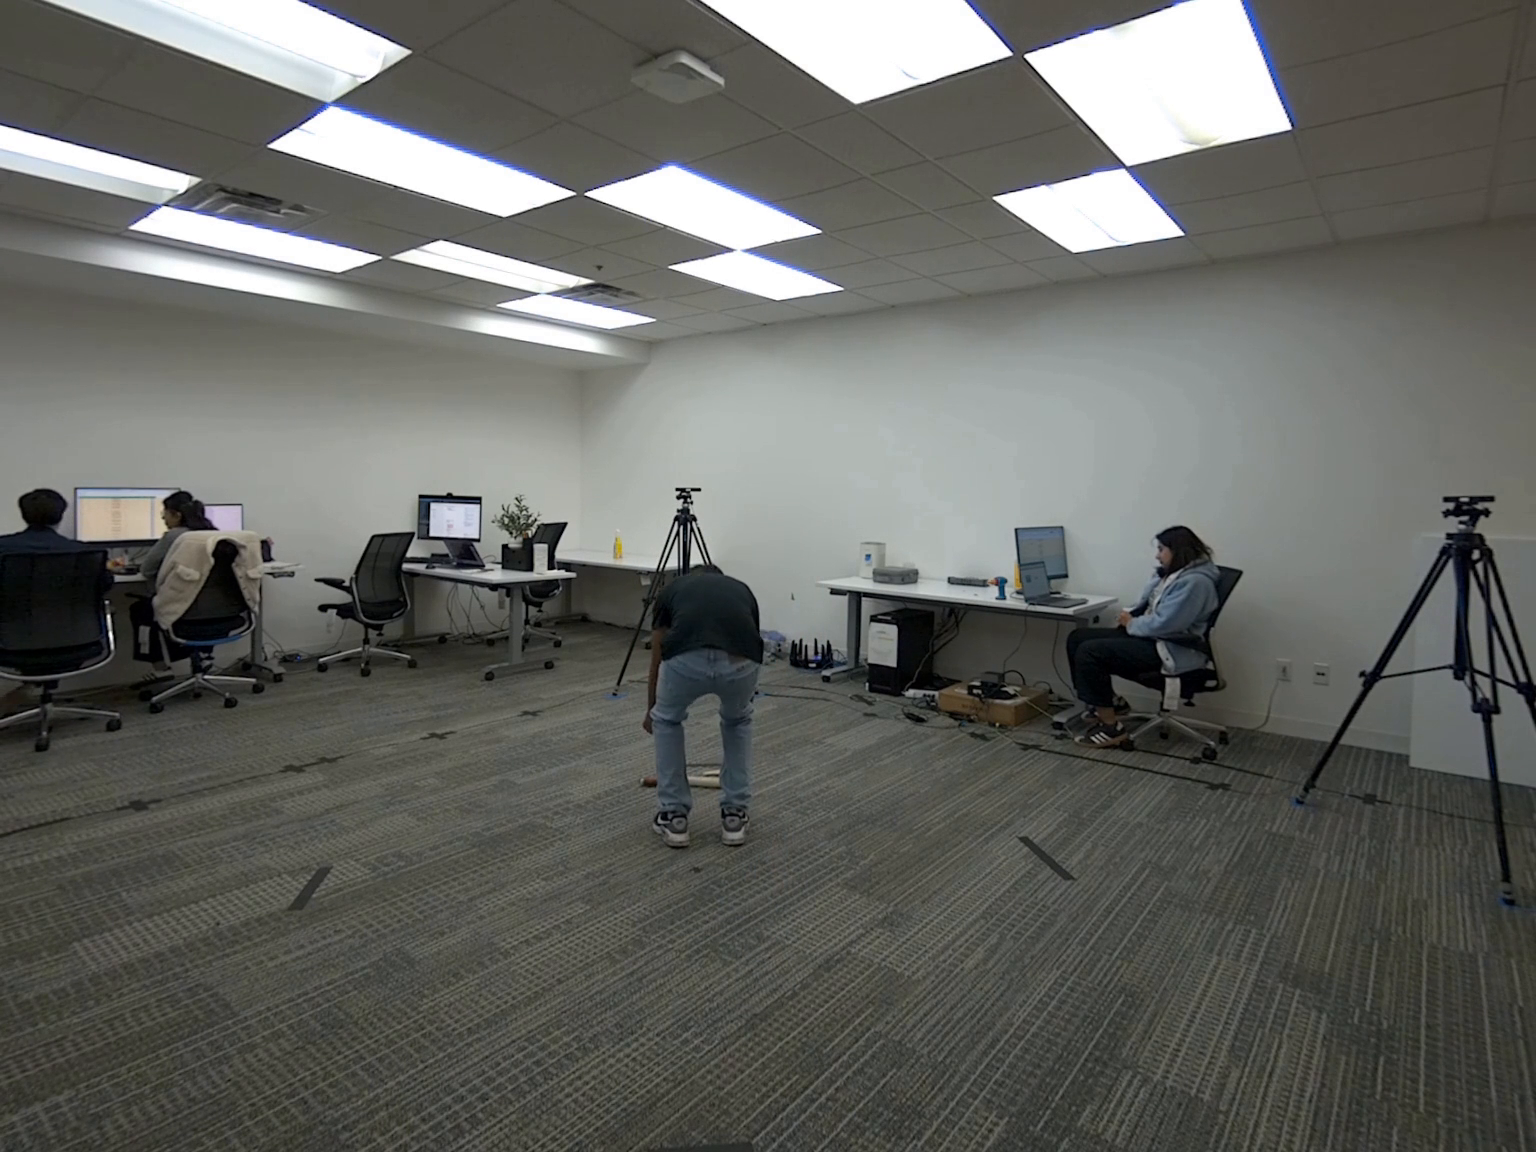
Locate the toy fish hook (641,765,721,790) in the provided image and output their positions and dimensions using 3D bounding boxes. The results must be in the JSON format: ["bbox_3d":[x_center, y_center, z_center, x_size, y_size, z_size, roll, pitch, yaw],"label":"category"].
[{"bbox_3d":[-0.373,0.957,4.042,0.503,0.048,0.225,1,-2,-6],"label":"toy fish hook"}]
